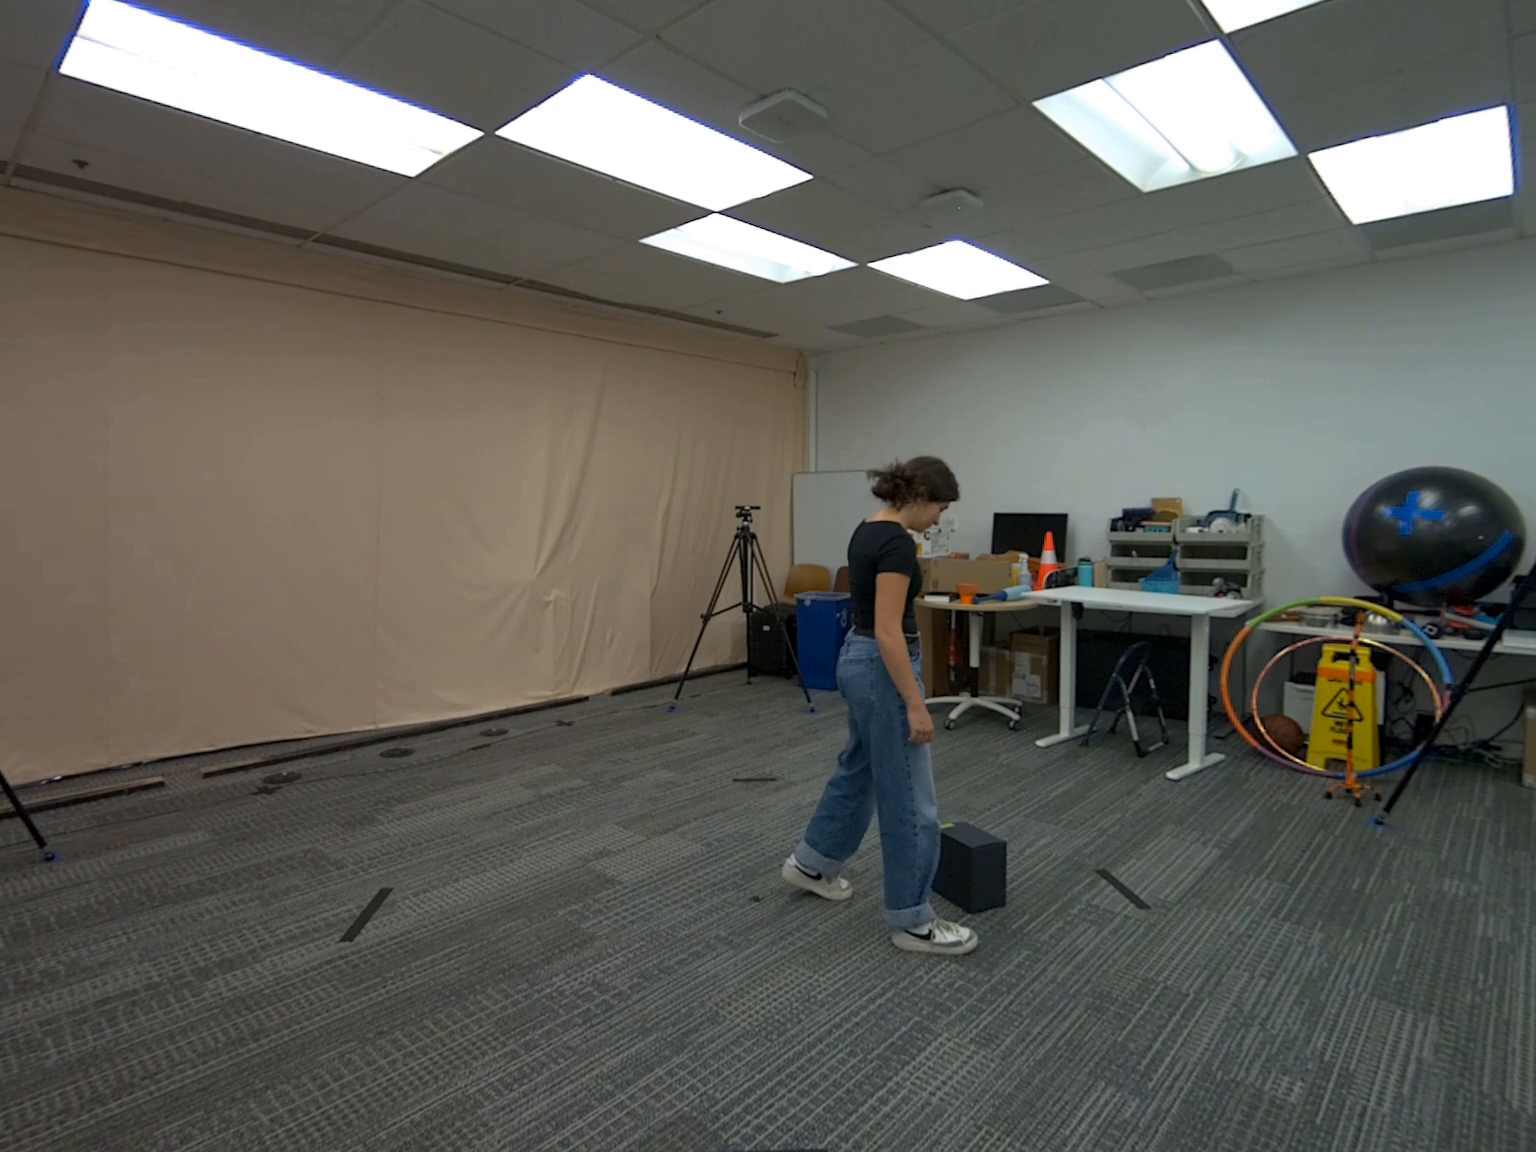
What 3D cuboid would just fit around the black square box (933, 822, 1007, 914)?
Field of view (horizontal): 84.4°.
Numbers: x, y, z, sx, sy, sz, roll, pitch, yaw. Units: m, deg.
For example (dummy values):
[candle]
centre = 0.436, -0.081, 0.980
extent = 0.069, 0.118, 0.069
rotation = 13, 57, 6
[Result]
[black square box]
centre = 0.716, 1.023, 2.982
extent = 0.152, 0.227, 0.223
rotation = 0, 2, -27
